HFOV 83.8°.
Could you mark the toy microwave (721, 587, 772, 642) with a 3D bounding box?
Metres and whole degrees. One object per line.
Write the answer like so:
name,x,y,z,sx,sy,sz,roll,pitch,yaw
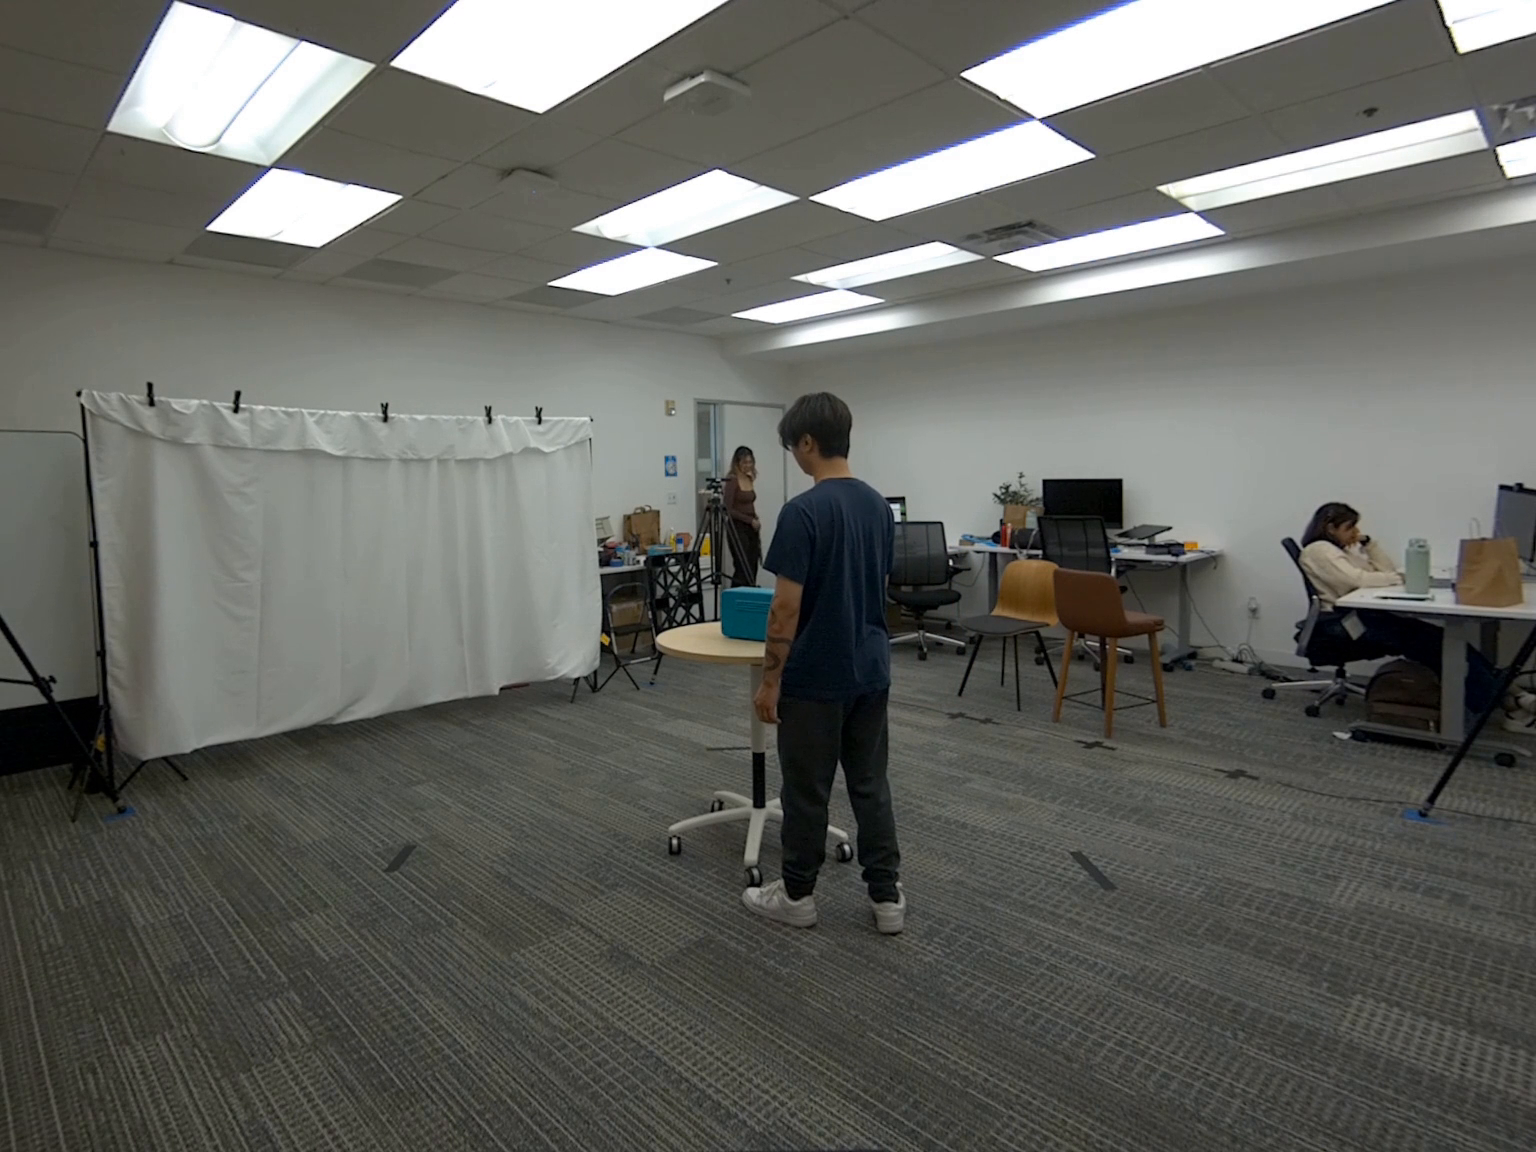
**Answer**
toy microwave,-0.024,0.144,3.196,0.294,0.184,0.149,3,4,31
